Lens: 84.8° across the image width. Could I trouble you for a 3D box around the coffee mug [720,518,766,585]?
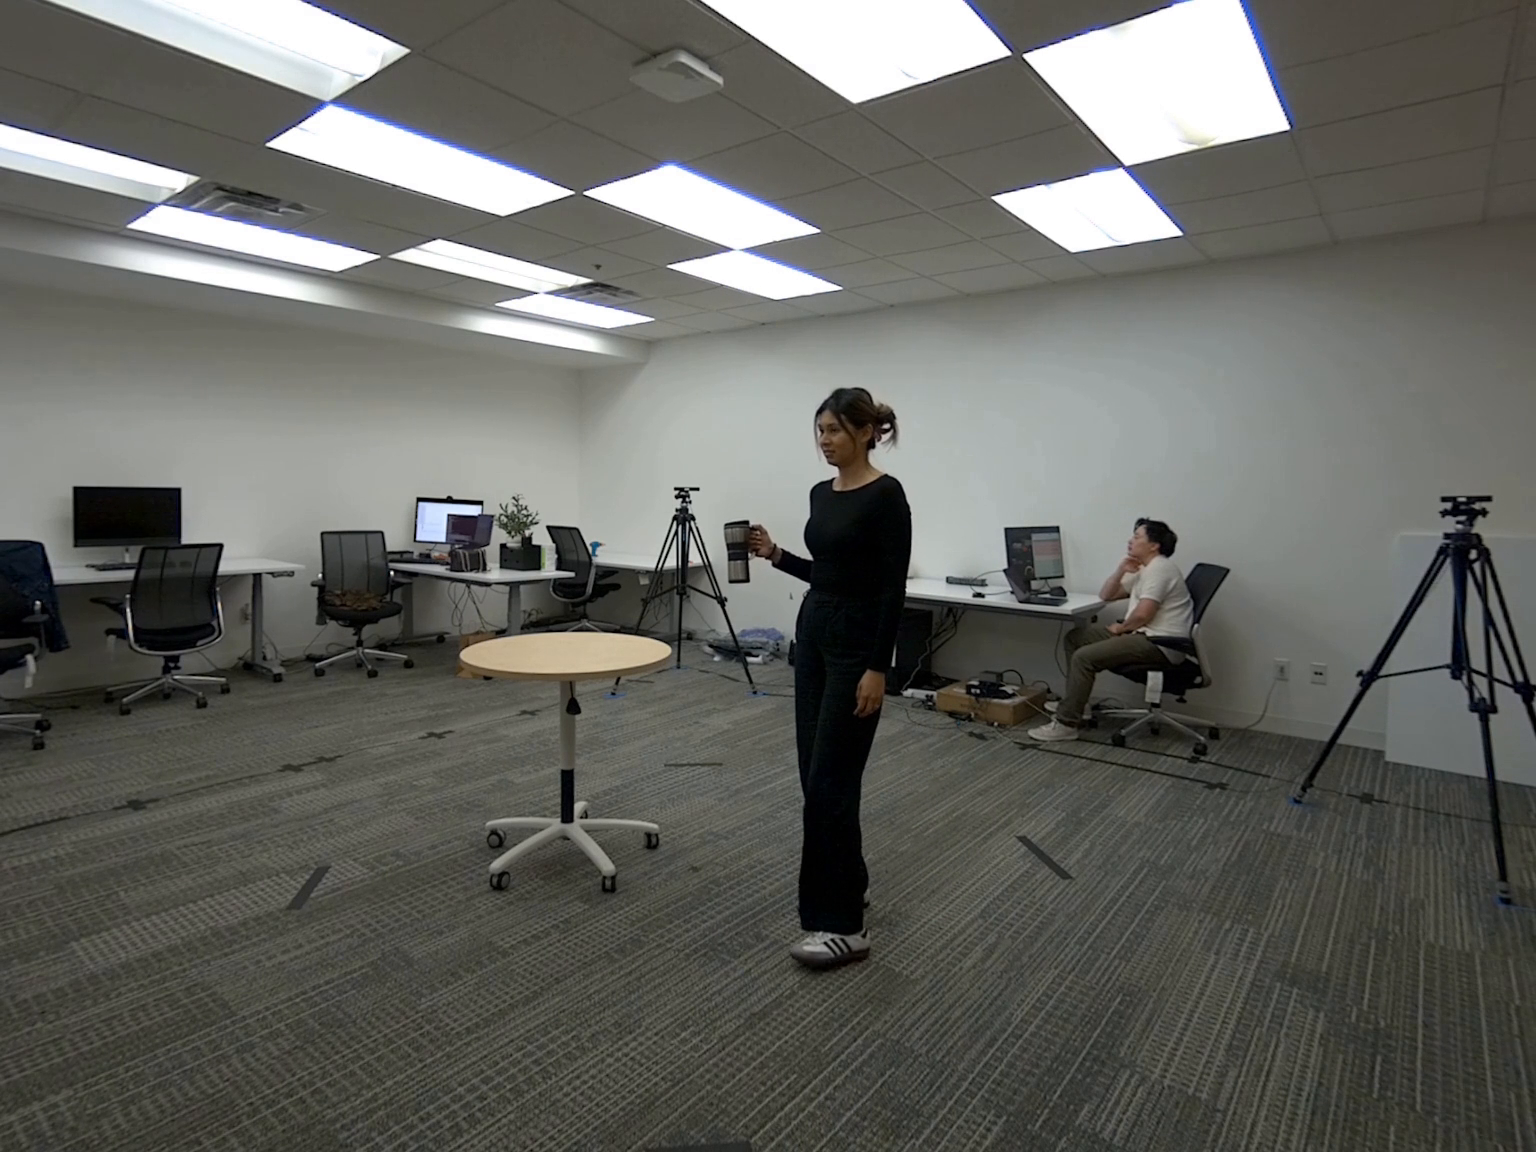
[{"bbox_3d":[-0.085,-0.081,2.792,0.121,0.204,0.088,-5,-5,-6],"label":"coffee mug"}]
